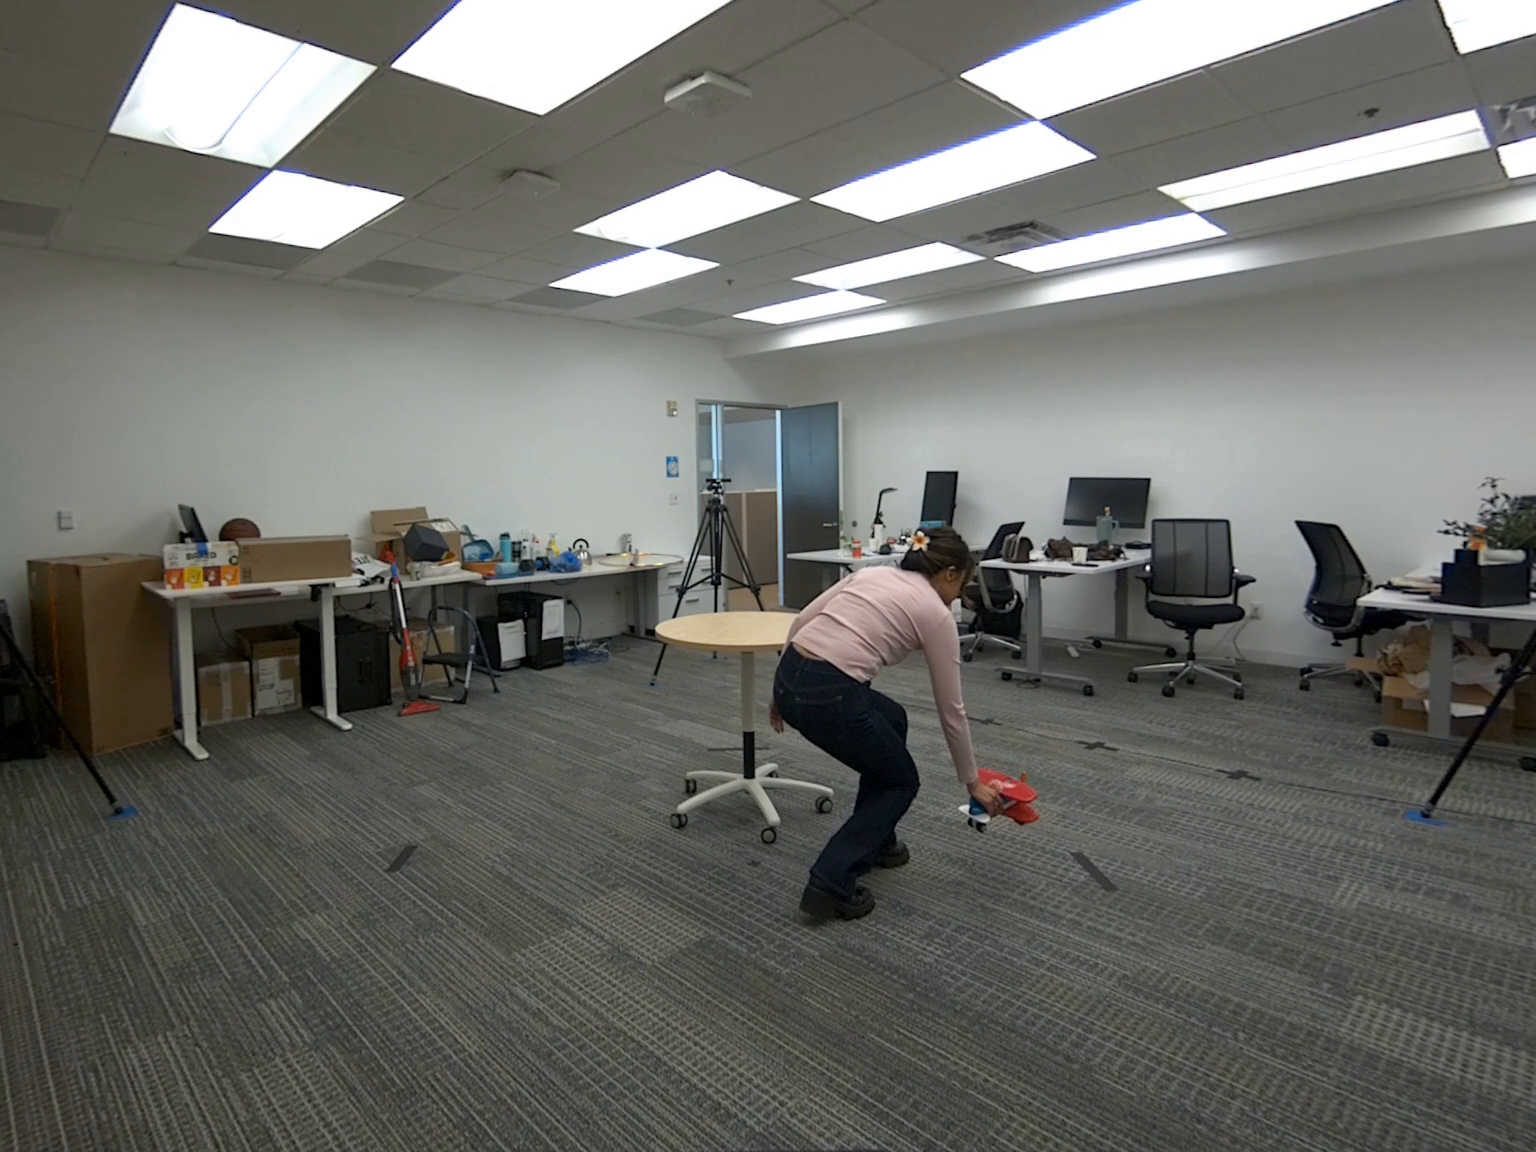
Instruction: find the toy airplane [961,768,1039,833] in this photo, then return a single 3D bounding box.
[{"bbox_3d":[0.800,0.785,2.937,0.258,0.155,0.253,8,9,31],"label":"toy airplane"}]
